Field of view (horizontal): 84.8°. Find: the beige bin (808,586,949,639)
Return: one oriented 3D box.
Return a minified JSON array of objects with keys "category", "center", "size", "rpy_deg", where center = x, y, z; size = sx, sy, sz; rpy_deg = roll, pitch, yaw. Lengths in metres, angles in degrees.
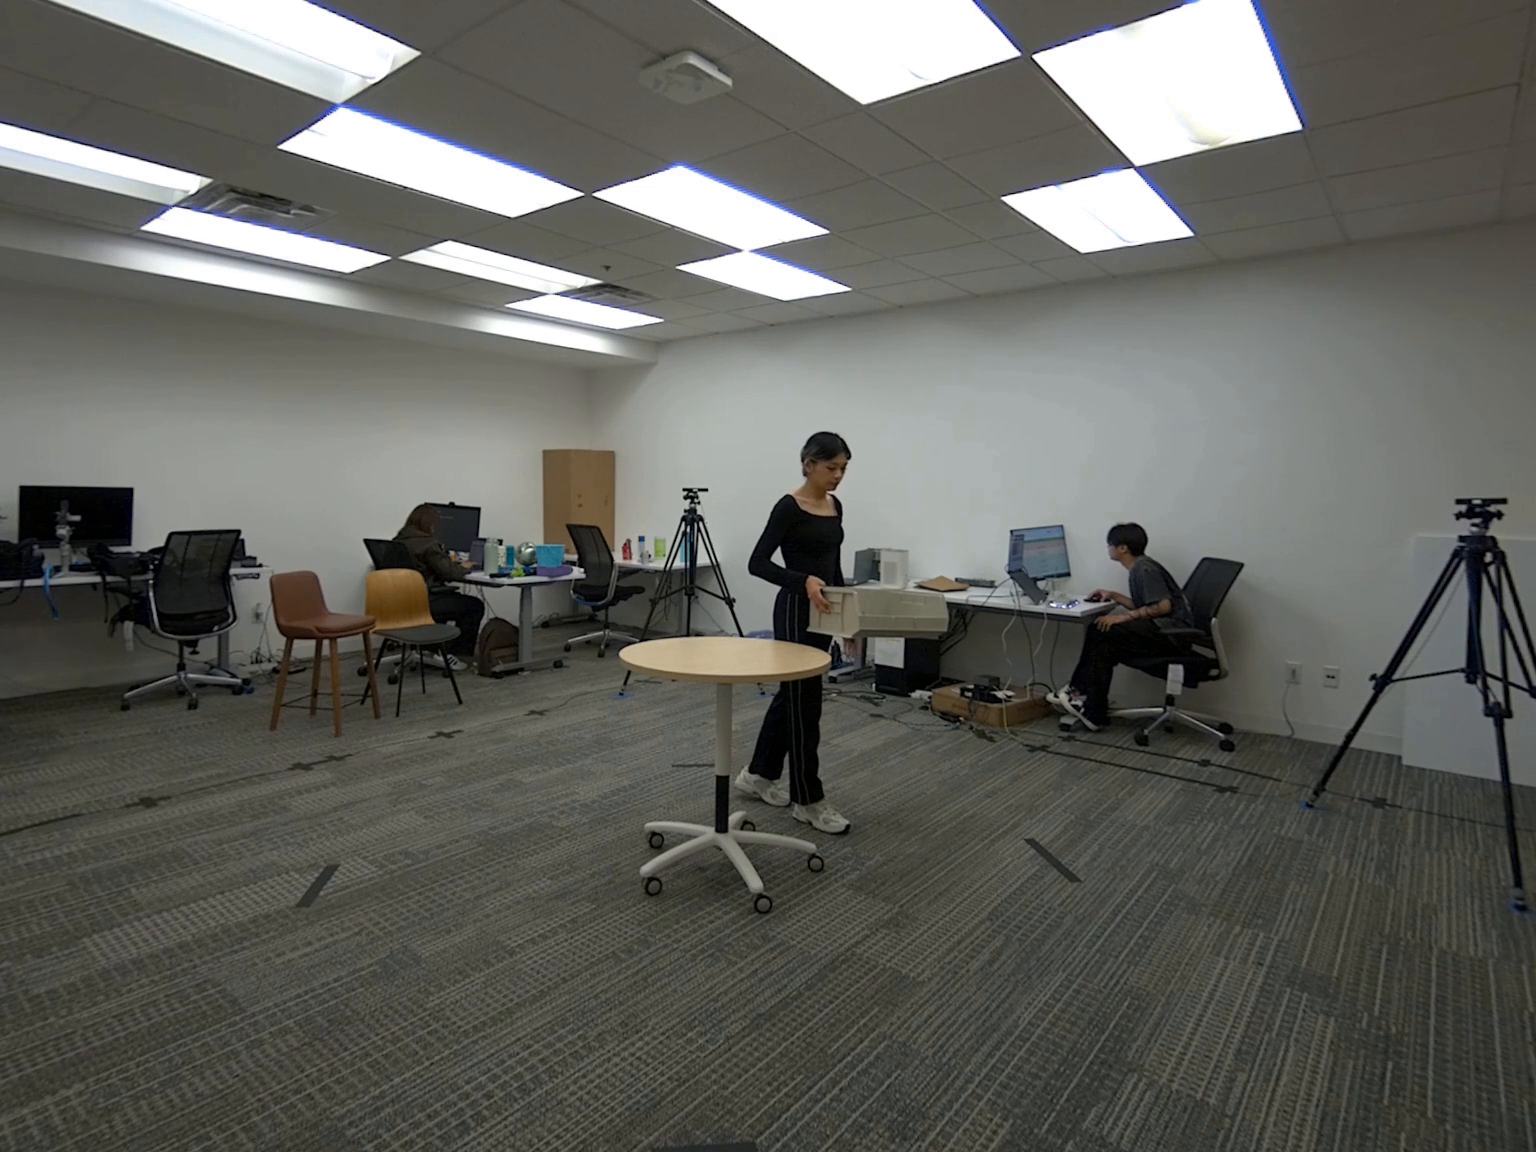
[{"category":"beige bin","center":[0.417,0.140,3.344],"size":[0.411,0.189,0.386],"rpy_deg":[2,-1,-27]}]
